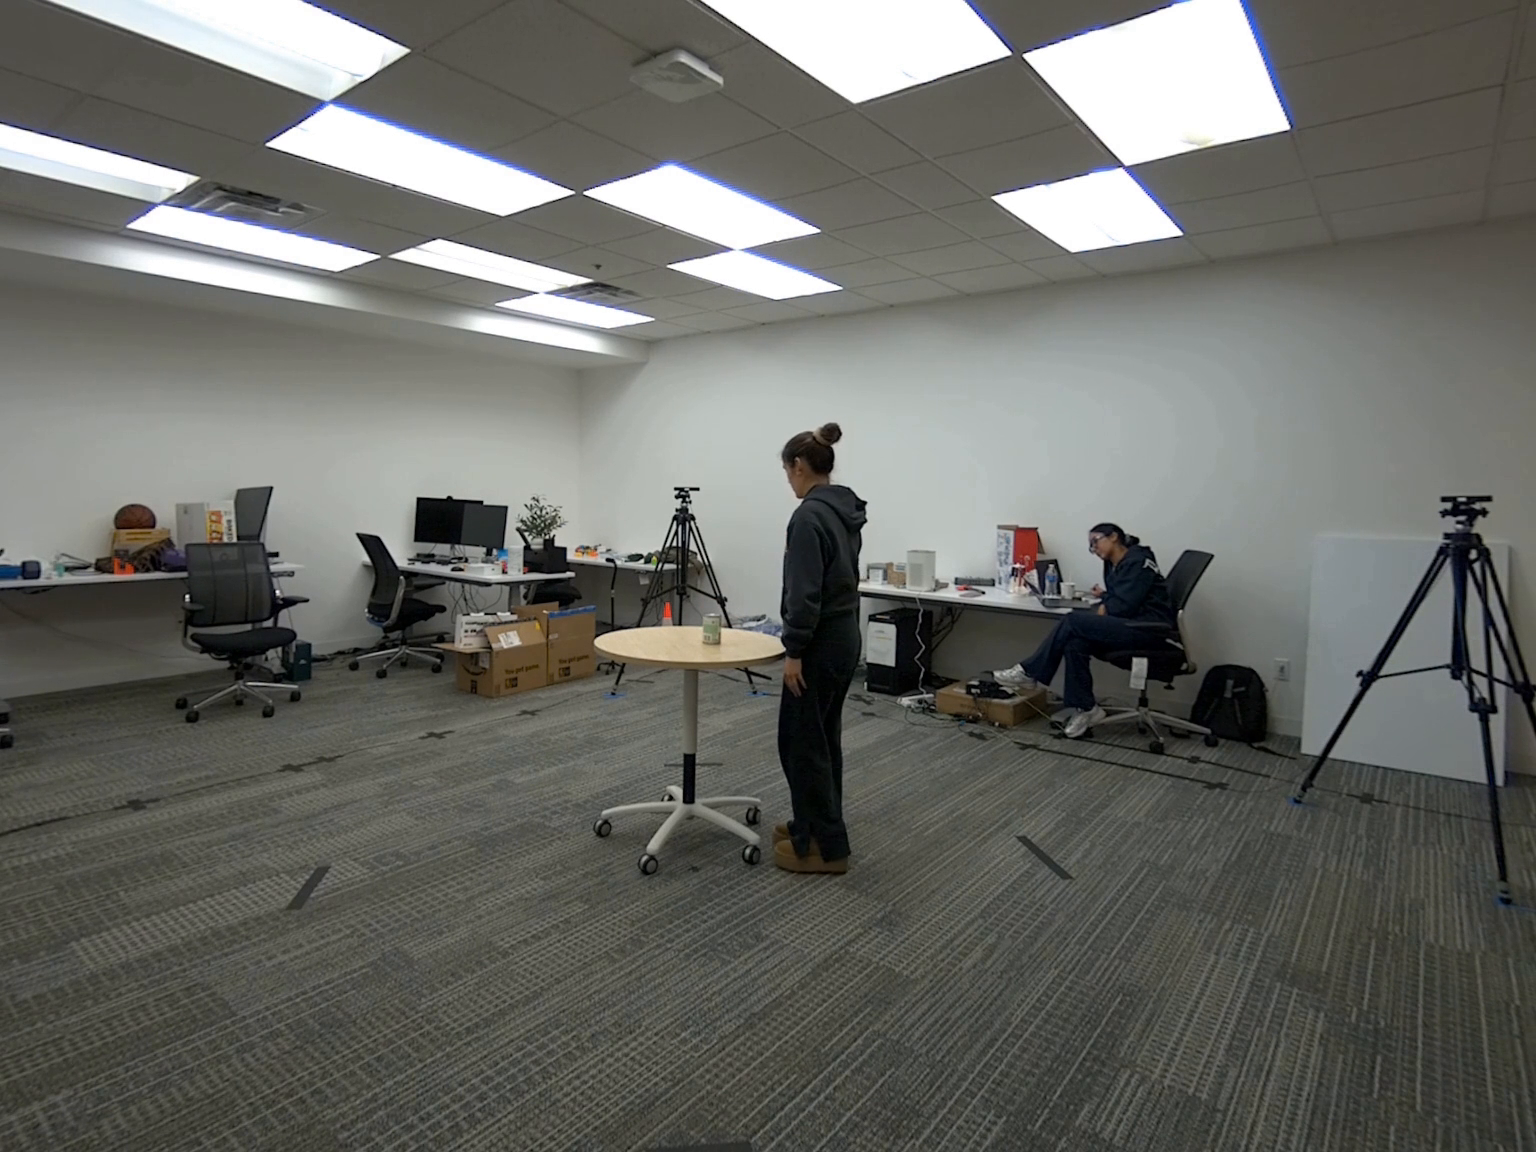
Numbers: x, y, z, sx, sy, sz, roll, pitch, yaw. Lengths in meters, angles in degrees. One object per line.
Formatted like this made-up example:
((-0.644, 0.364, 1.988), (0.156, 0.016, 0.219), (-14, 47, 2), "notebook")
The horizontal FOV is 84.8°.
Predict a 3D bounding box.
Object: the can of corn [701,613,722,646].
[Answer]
((-0.224, 0.208, 3.351), (0.074, 0.110, 0.074), (5, 5, -2), "can of corn")
